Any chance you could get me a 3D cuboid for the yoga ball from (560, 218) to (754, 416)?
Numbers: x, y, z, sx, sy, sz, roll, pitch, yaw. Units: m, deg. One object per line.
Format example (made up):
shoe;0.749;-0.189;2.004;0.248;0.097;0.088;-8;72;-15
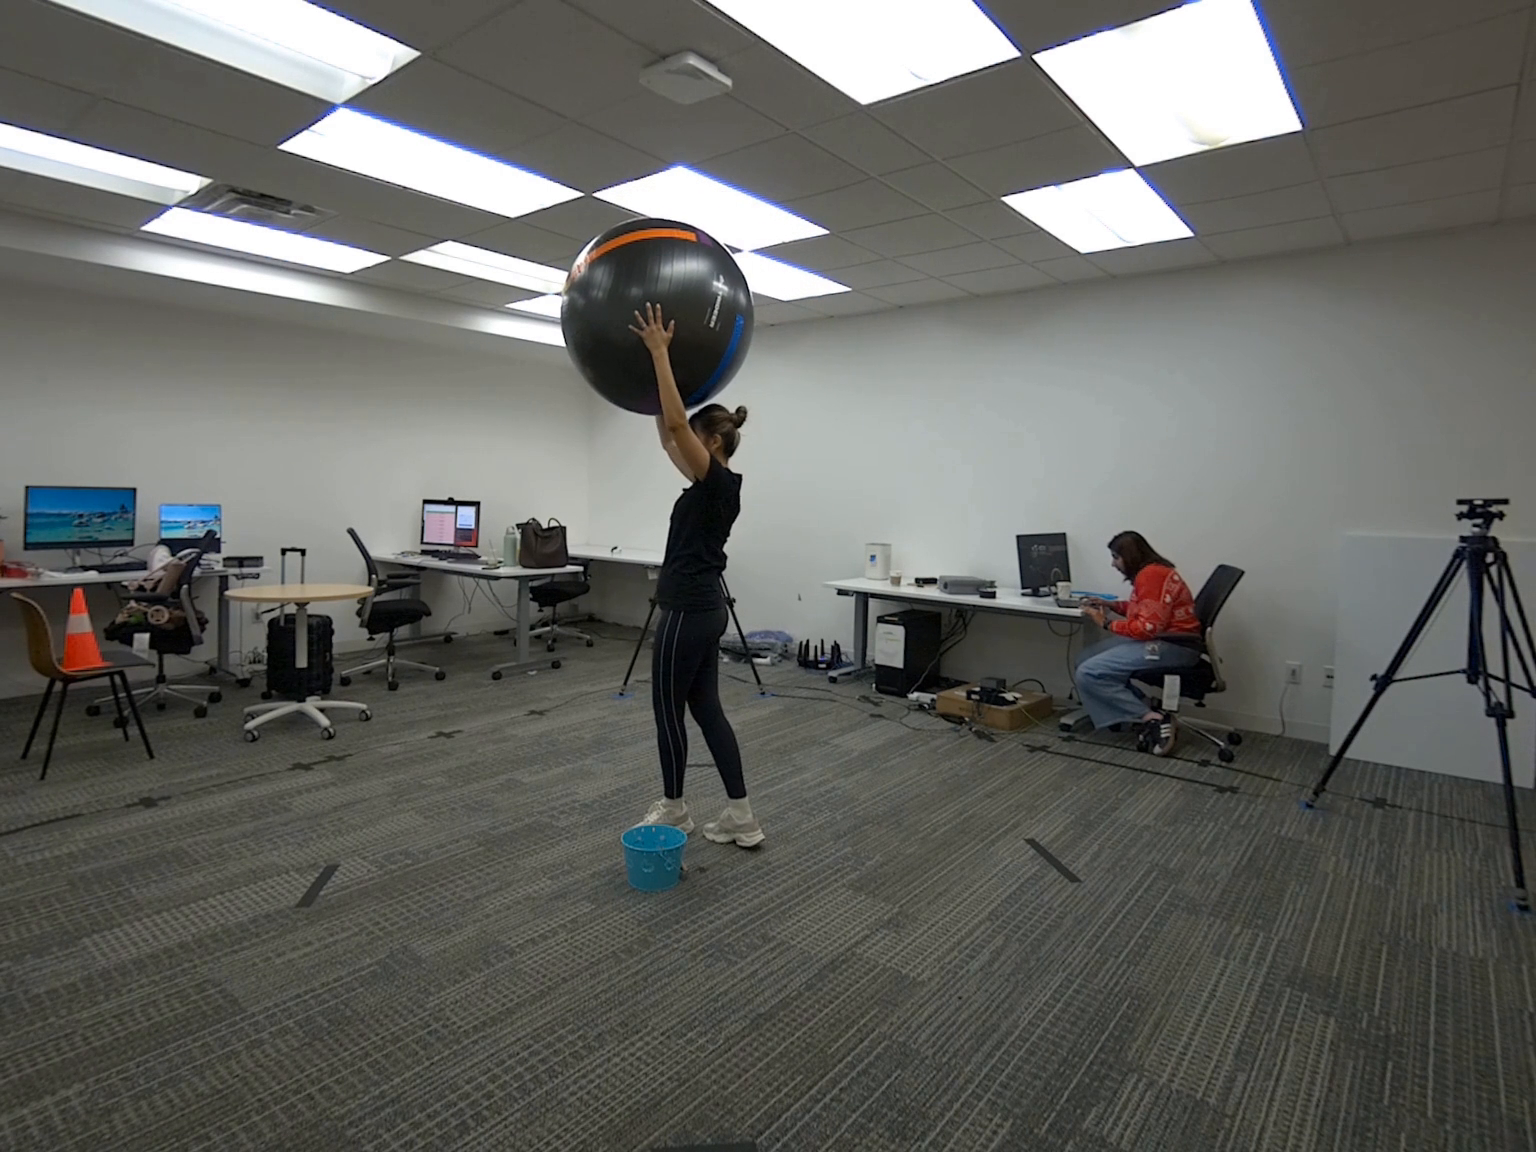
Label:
yoga ball;-0.446;-1.008;3.348;0.757;0.755;0.762;1;4;-2
